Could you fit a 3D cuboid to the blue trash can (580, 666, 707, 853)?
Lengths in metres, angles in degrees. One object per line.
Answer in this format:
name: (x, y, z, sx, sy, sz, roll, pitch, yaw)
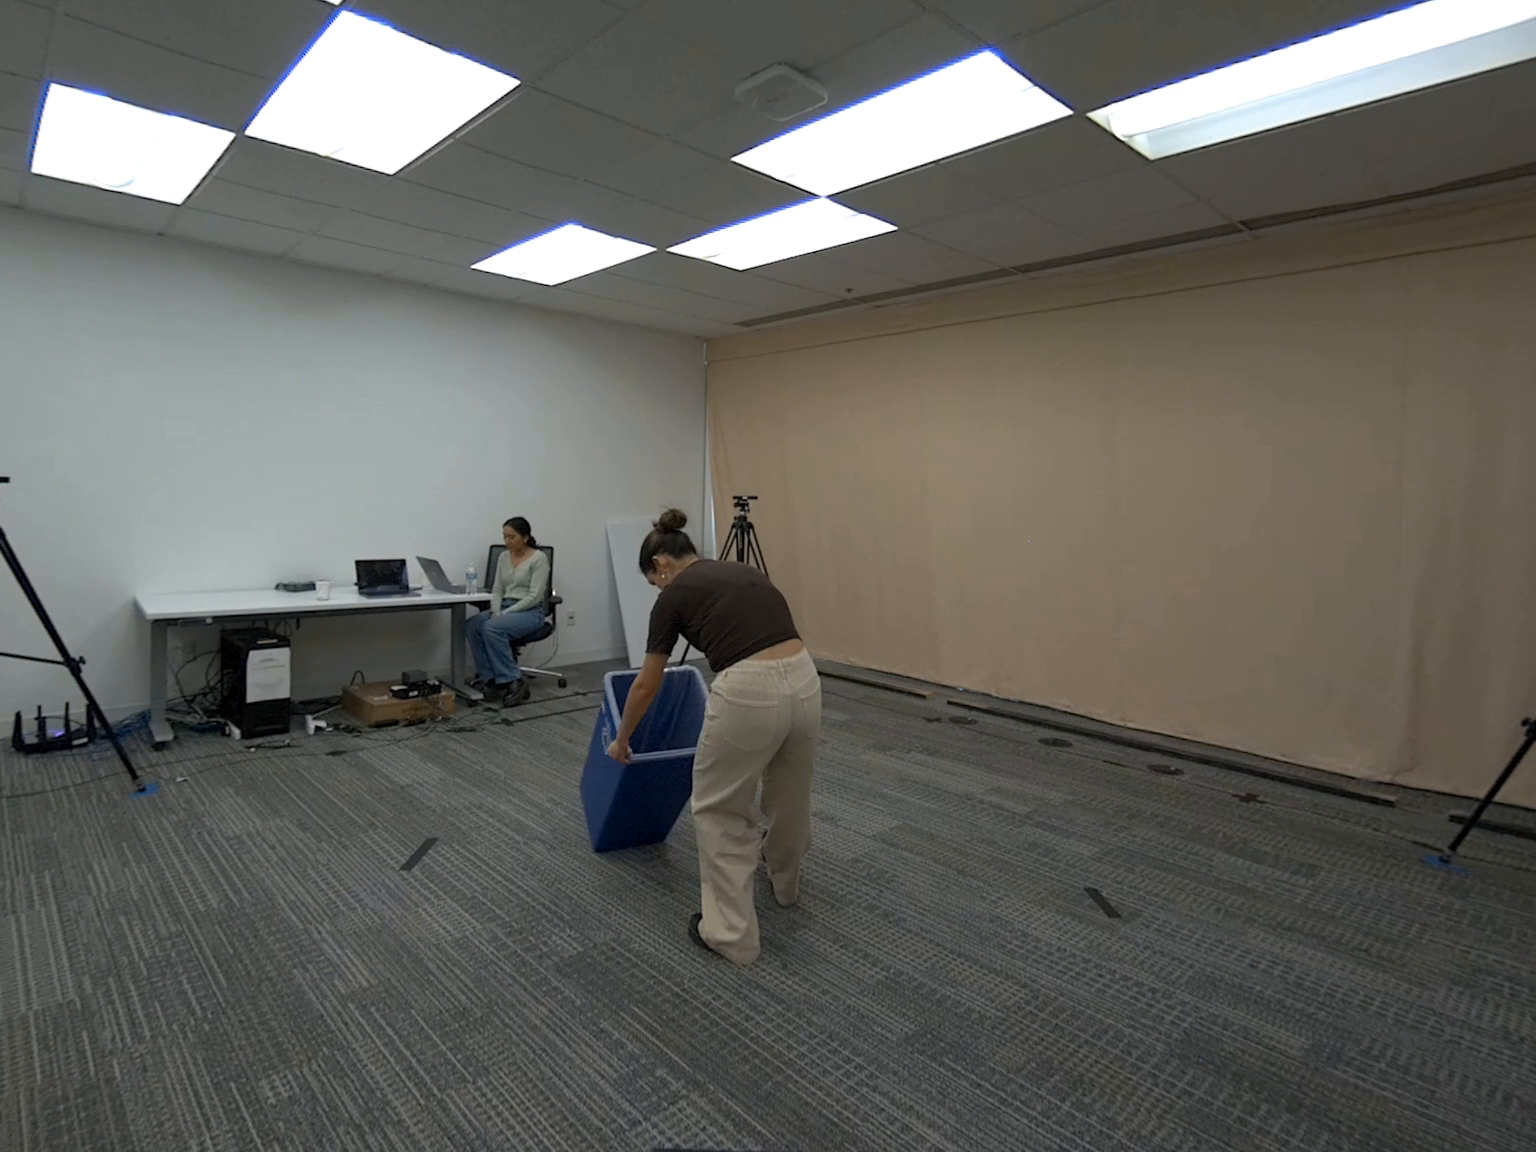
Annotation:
blue trash can: (-0.476, 0.722, 3.193, 0.371, 0.705, 0.385, -2, 45, -27)
